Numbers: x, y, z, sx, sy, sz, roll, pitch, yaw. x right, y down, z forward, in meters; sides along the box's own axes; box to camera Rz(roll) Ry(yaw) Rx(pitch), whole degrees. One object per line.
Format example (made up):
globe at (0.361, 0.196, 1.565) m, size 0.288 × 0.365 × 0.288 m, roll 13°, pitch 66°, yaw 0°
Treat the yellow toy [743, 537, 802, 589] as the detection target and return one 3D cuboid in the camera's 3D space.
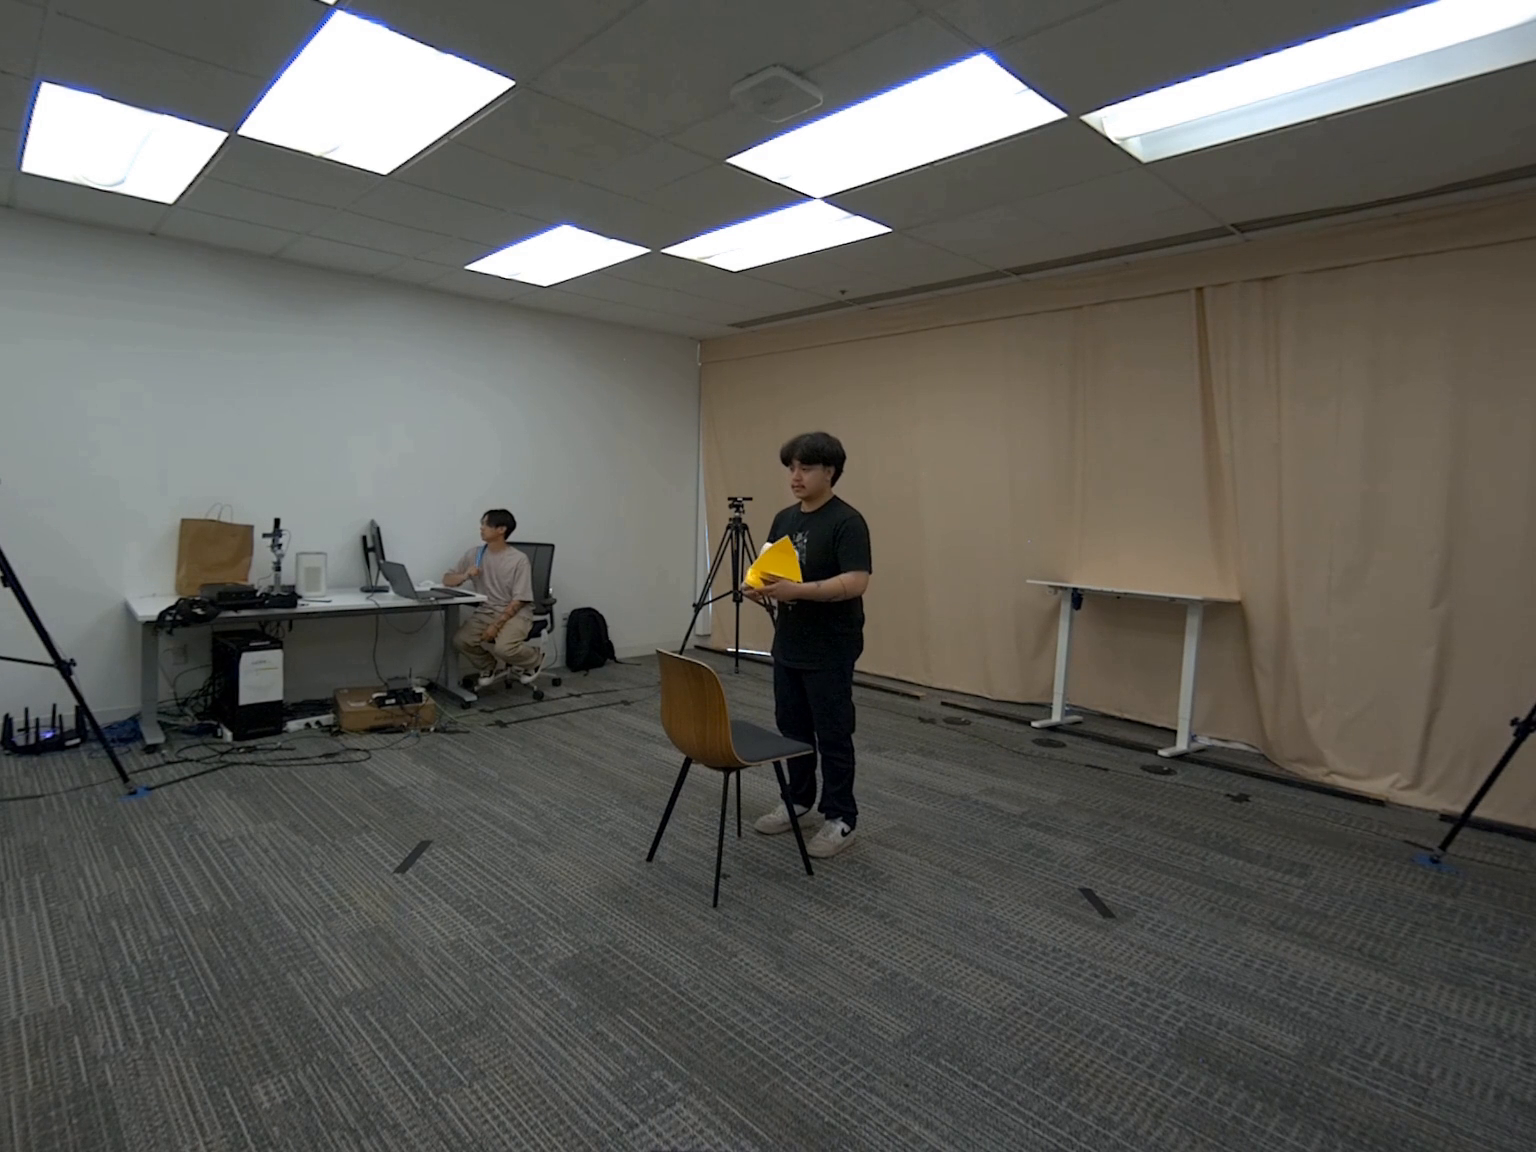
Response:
yellow toy at (0.033, -0.062, 3.223) m, size 0.204 × 0.229 × 0.195 m, roll 14°, pitch 17°, yaw -4°
